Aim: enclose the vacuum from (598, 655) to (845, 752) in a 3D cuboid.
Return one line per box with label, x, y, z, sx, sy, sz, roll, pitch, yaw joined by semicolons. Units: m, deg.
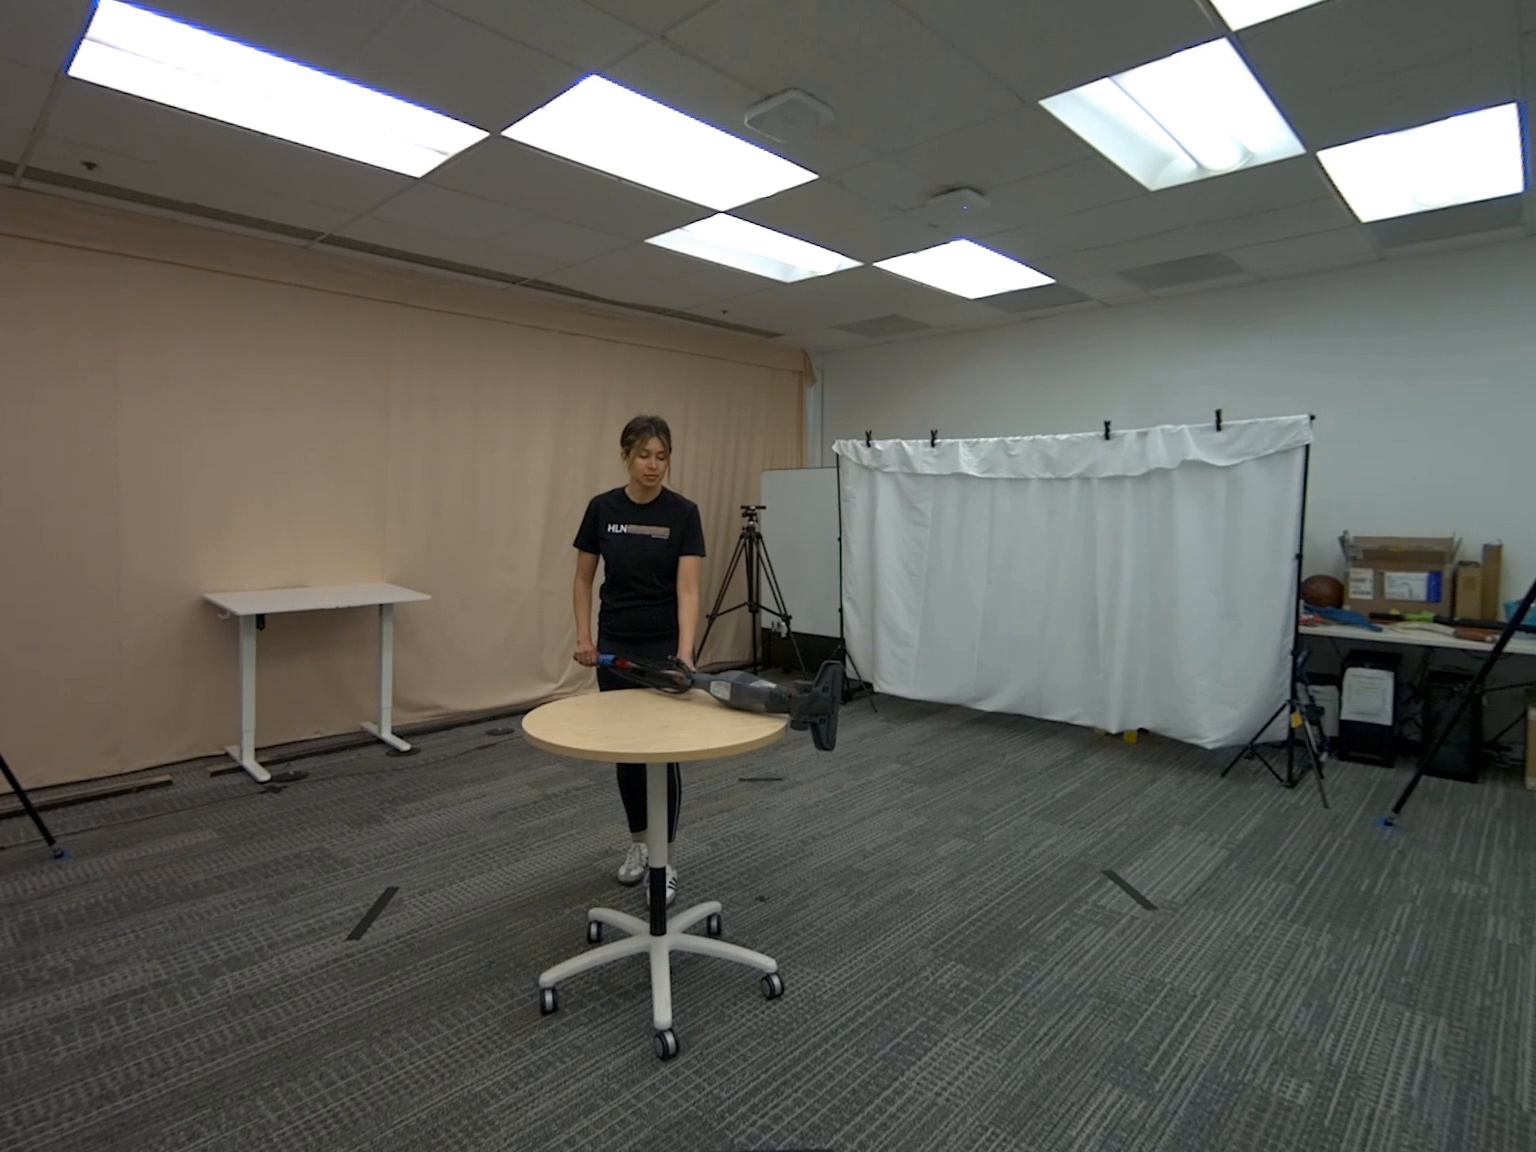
vacuum;-0.259;0.341;2.693;1.084;0.253;0.139;5;-7;39
